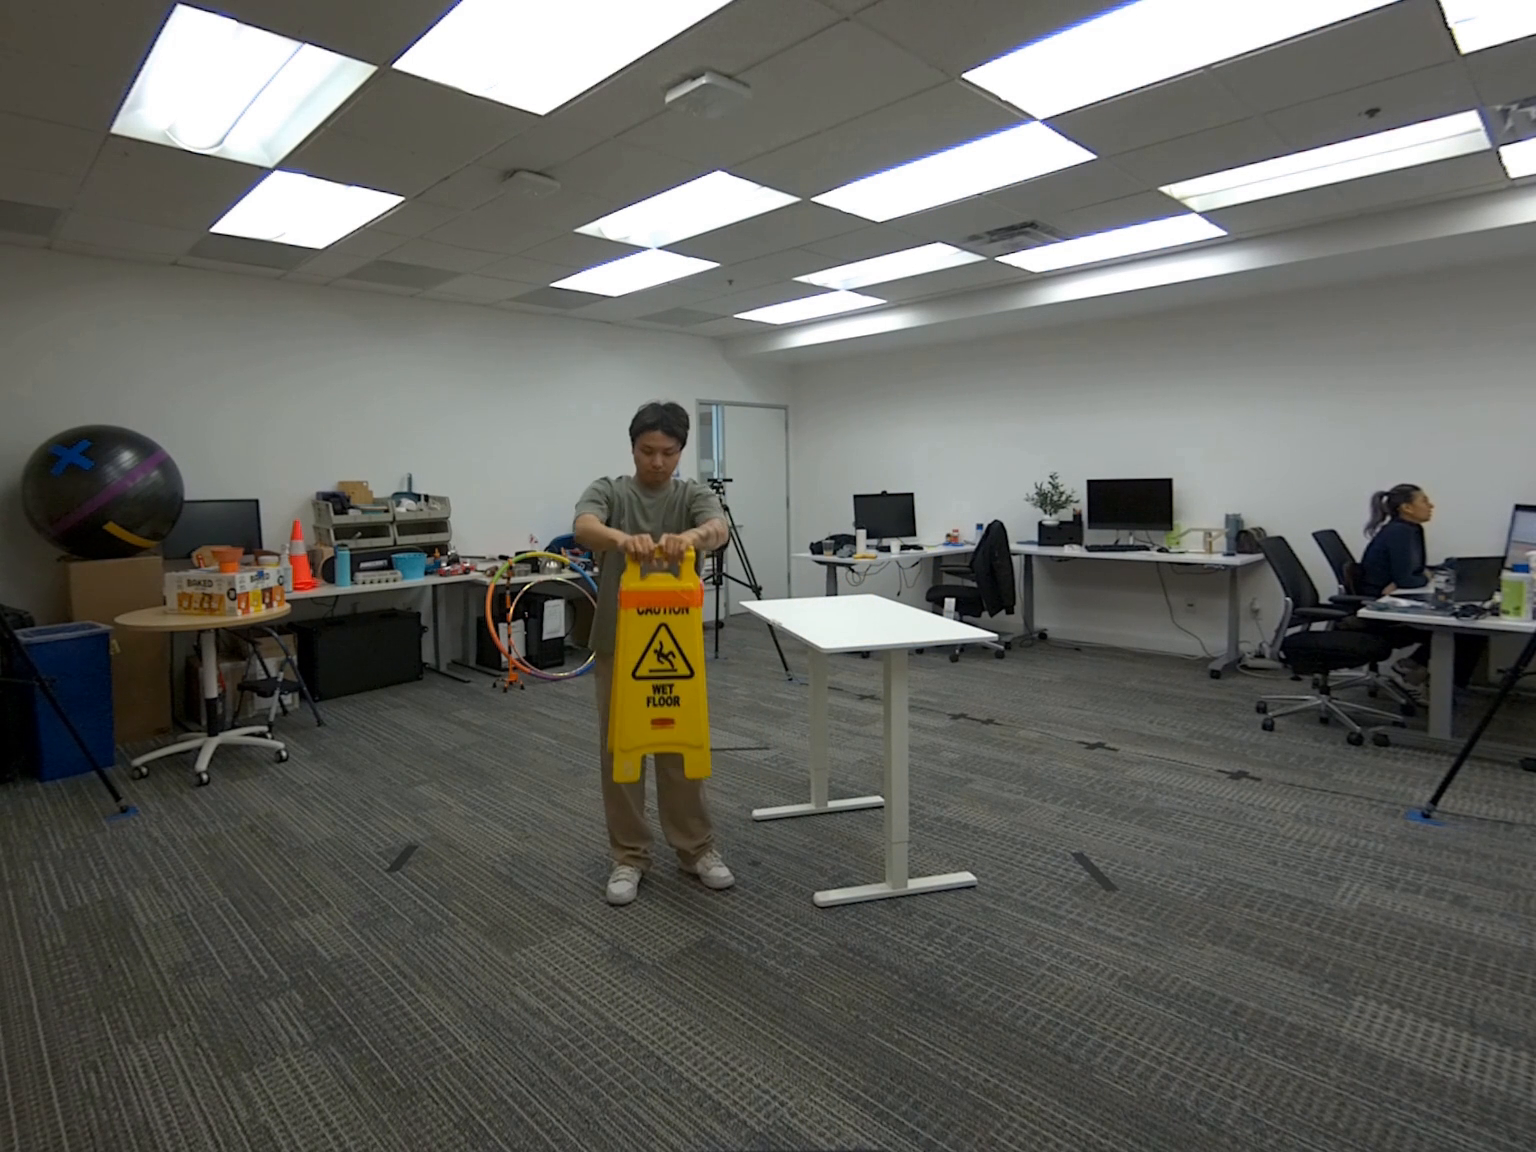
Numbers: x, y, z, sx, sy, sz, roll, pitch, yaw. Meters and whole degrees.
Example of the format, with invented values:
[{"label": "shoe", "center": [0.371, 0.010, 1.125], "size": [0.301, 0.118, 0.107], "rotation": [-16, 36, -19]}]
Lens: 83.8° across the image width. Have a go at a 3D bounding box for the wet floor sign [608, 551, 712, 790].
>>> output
[{"label": "wet floor sign", "center": [-0.322, 0.239, 2.484], "size": [0.279, 0.641, 0.295], "rotation": [-1, 8, -14]}]
